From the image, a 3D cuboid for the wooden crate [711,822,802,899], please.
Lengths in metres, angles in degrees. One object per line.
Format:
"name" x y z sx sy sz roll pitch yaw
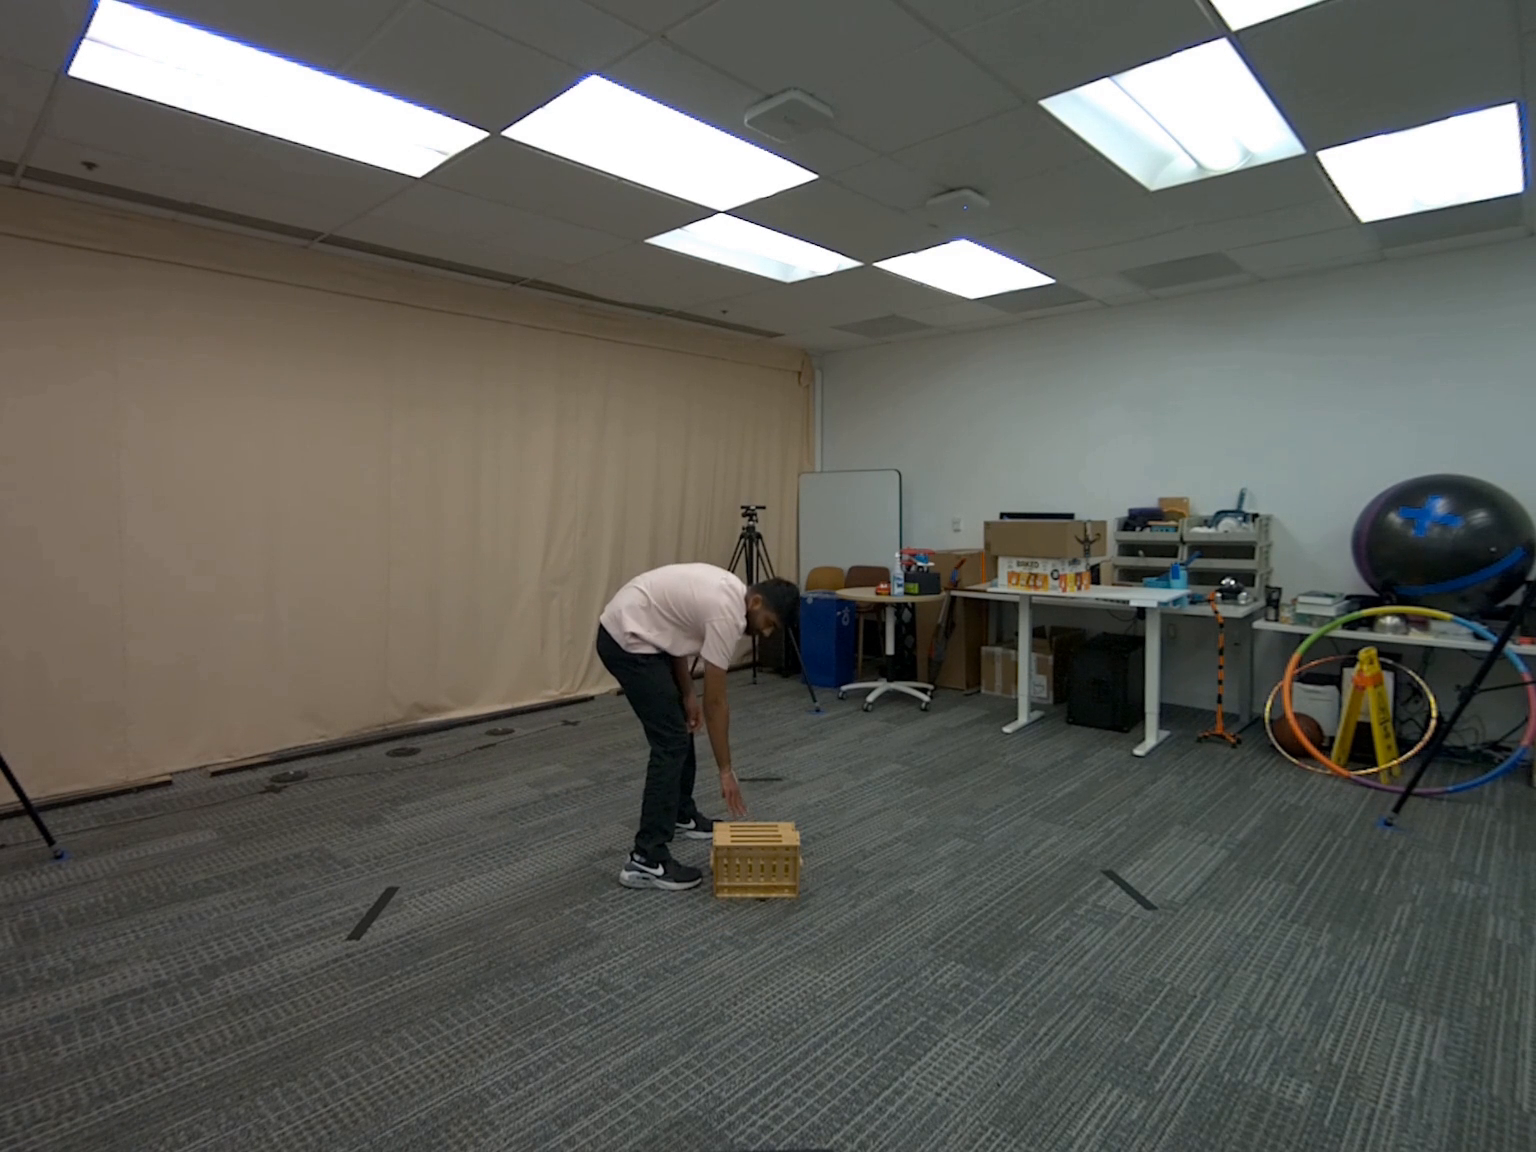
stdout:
"wooden crate" -0.047 1.002 3.076 0.324 0.298 0.277 0 20 -2
